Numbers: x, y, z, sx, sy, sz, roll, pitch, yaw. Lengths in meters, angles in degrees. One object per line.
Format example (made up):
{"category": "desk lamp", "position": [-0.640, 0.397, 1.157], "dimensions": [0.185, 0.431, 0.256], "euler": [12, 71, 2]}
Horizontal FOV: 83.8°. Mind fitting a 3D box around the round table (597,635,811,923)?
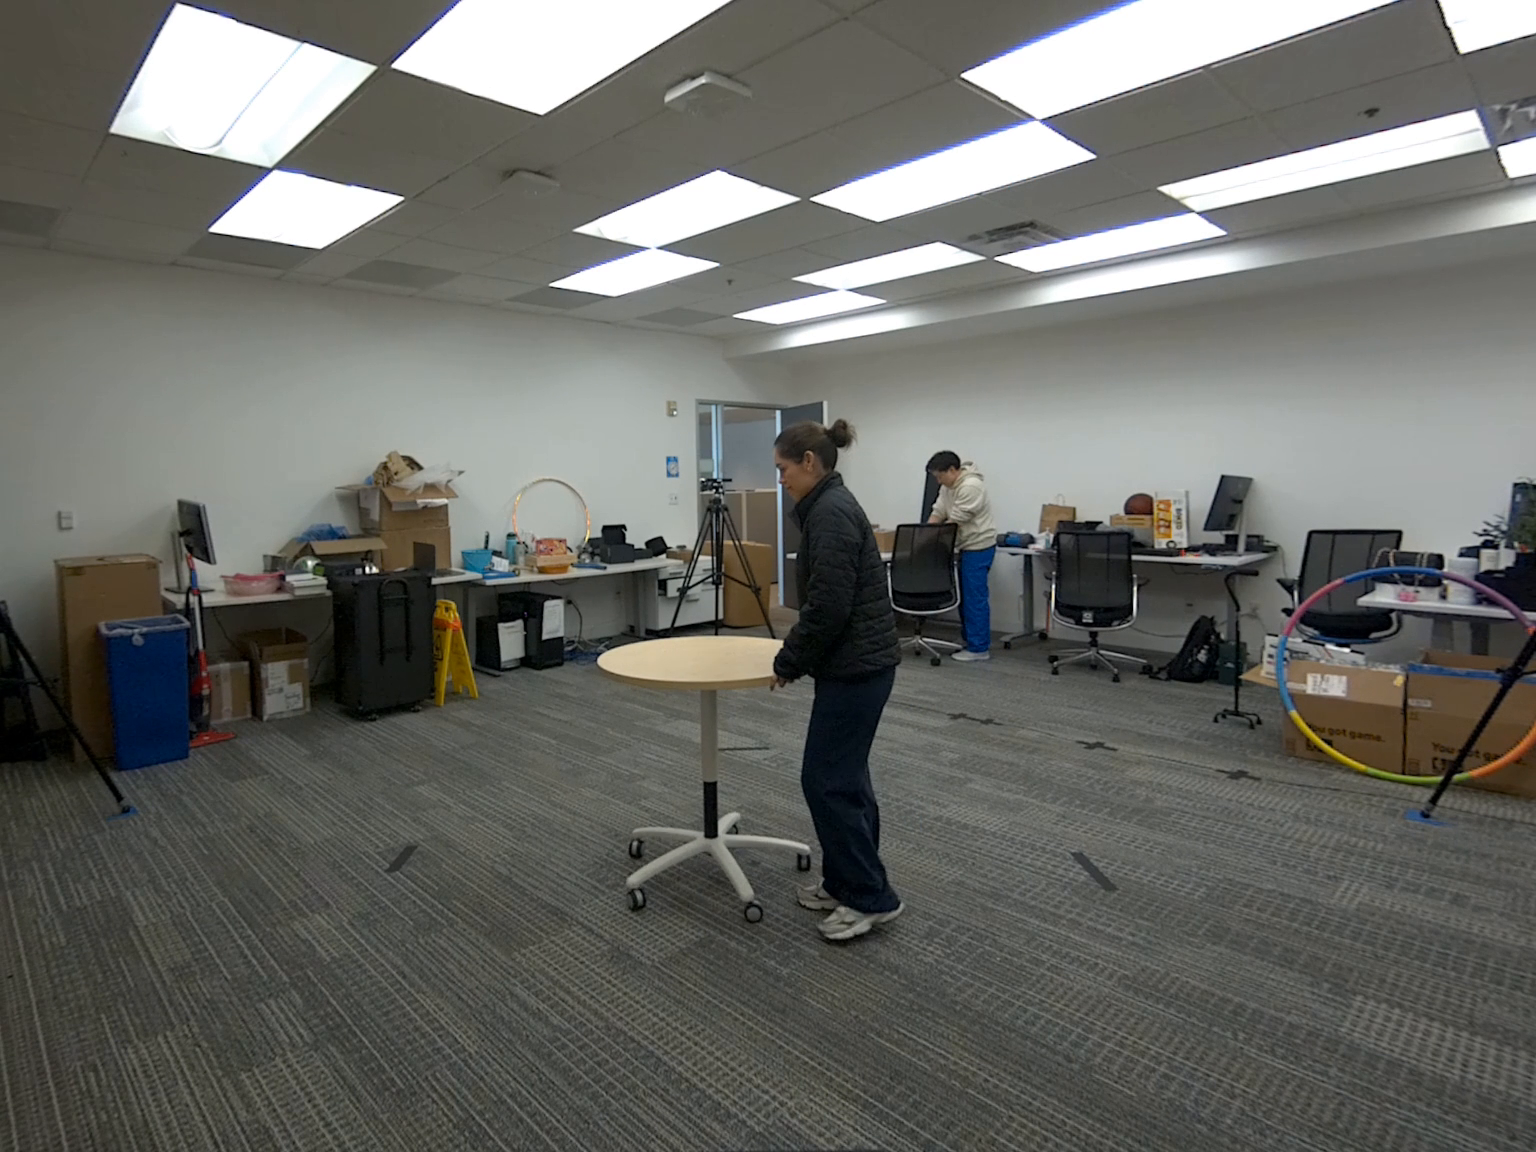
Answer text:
{"category": "round table", "position": [-0.195, 0.664, 3.024], "dimensions": [0.784, 0.783, 0.789], "euler": [-1, 5, -2]}
